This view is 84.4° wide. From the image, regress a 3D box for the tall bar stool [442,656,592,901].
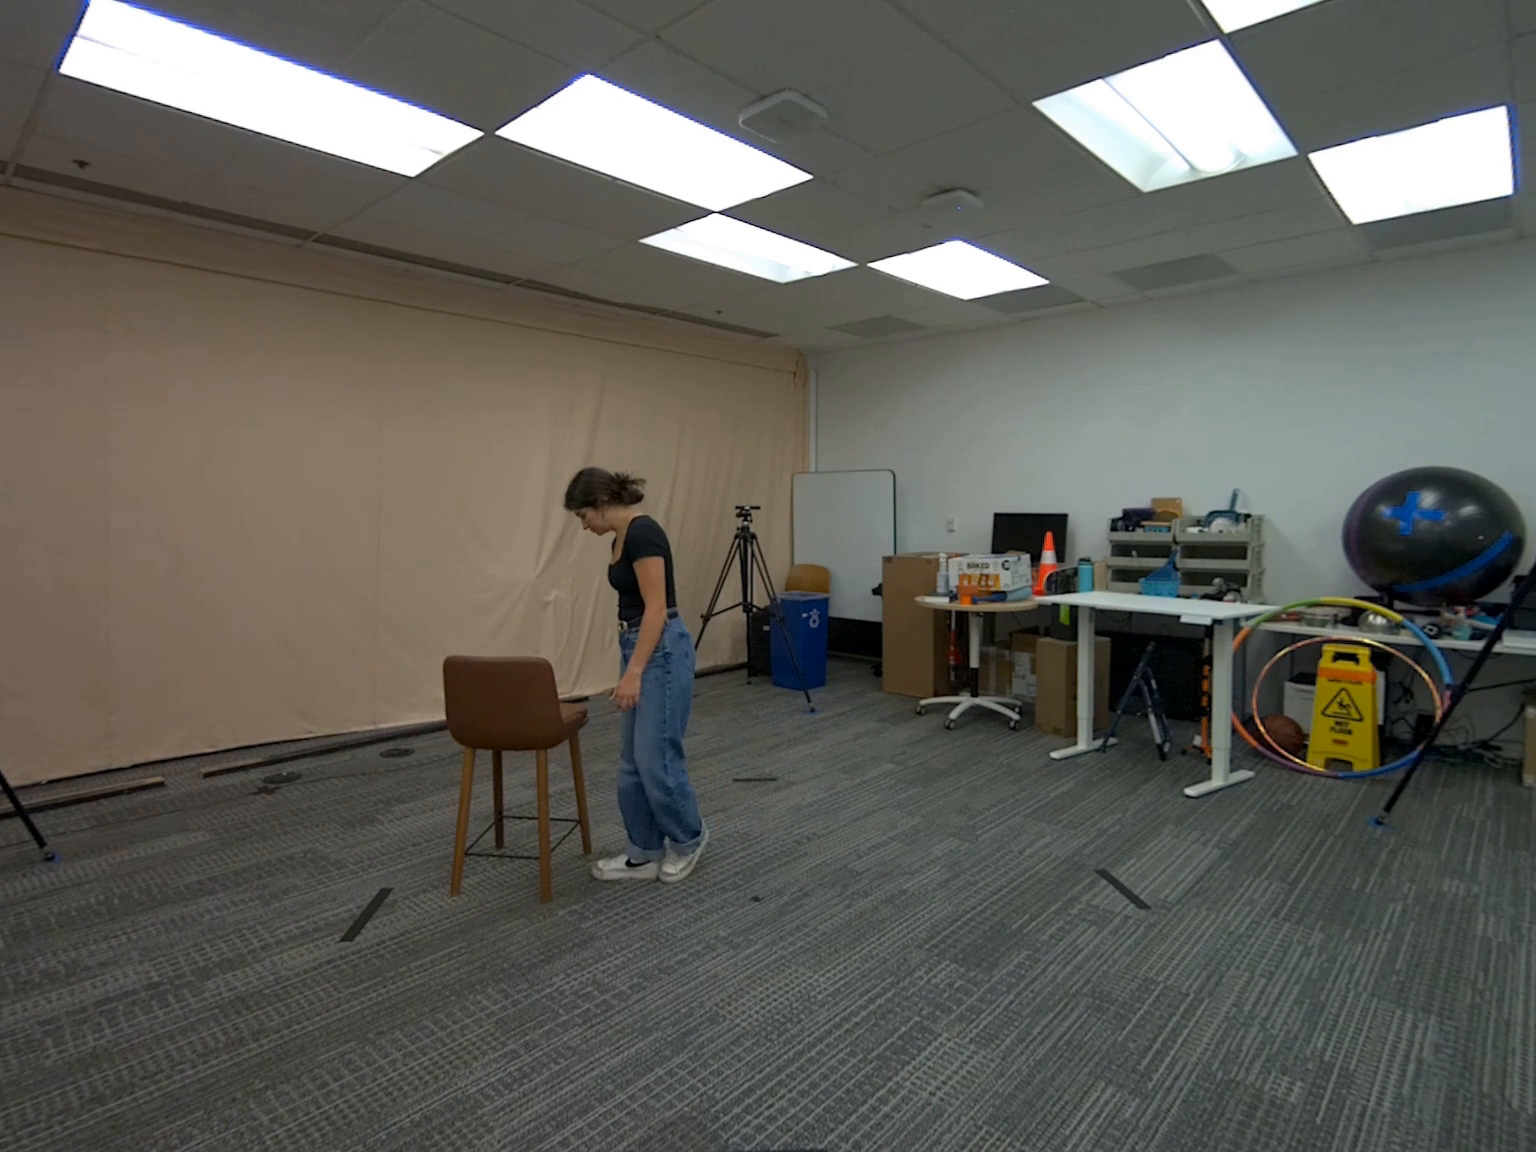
[{"bbox_3d":[-0.945,0.704,3.195,0.461,0.887,0.464,0,4,8],"label":"tall bar stool"}]
